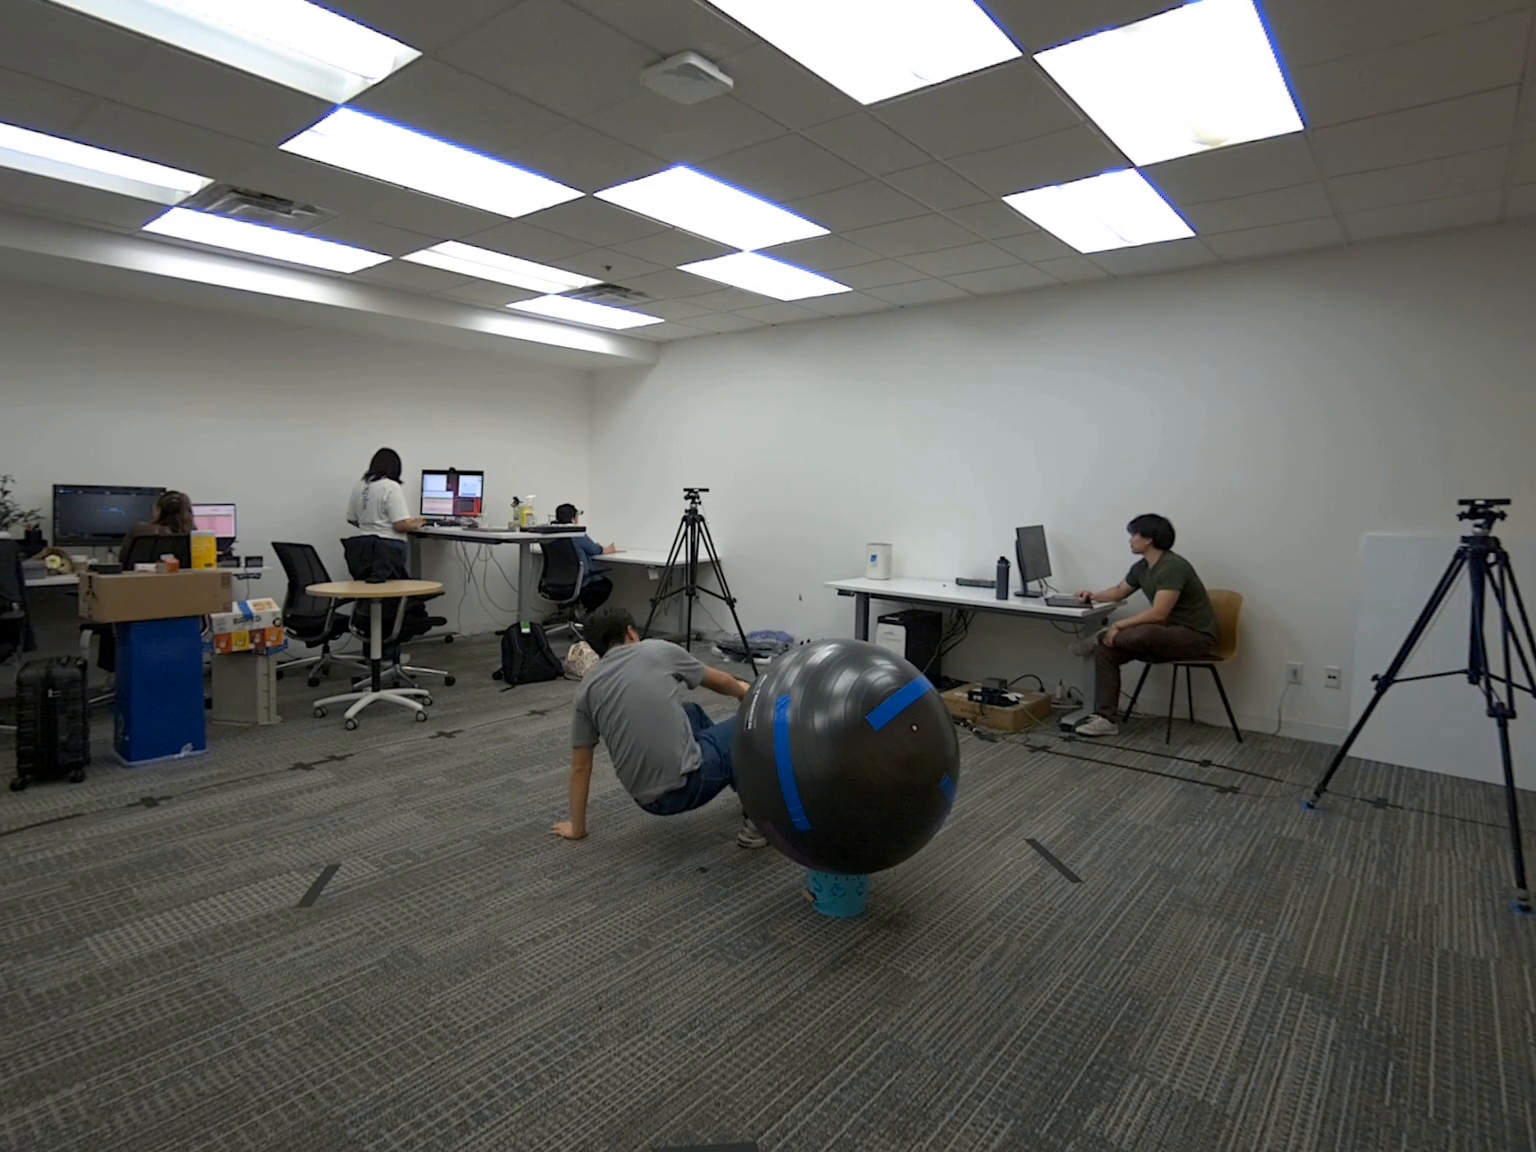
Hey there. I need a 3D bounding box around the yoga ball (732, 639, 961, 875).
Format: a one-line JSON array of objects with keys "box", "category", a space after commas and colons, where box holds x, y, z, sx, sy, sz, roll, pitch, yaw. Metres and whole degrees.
[{"box": [0.244, 0.591, 2.853, 0.757, 0.756, 0.762, 1, 4, -2], "category": "yoga ball"}]
